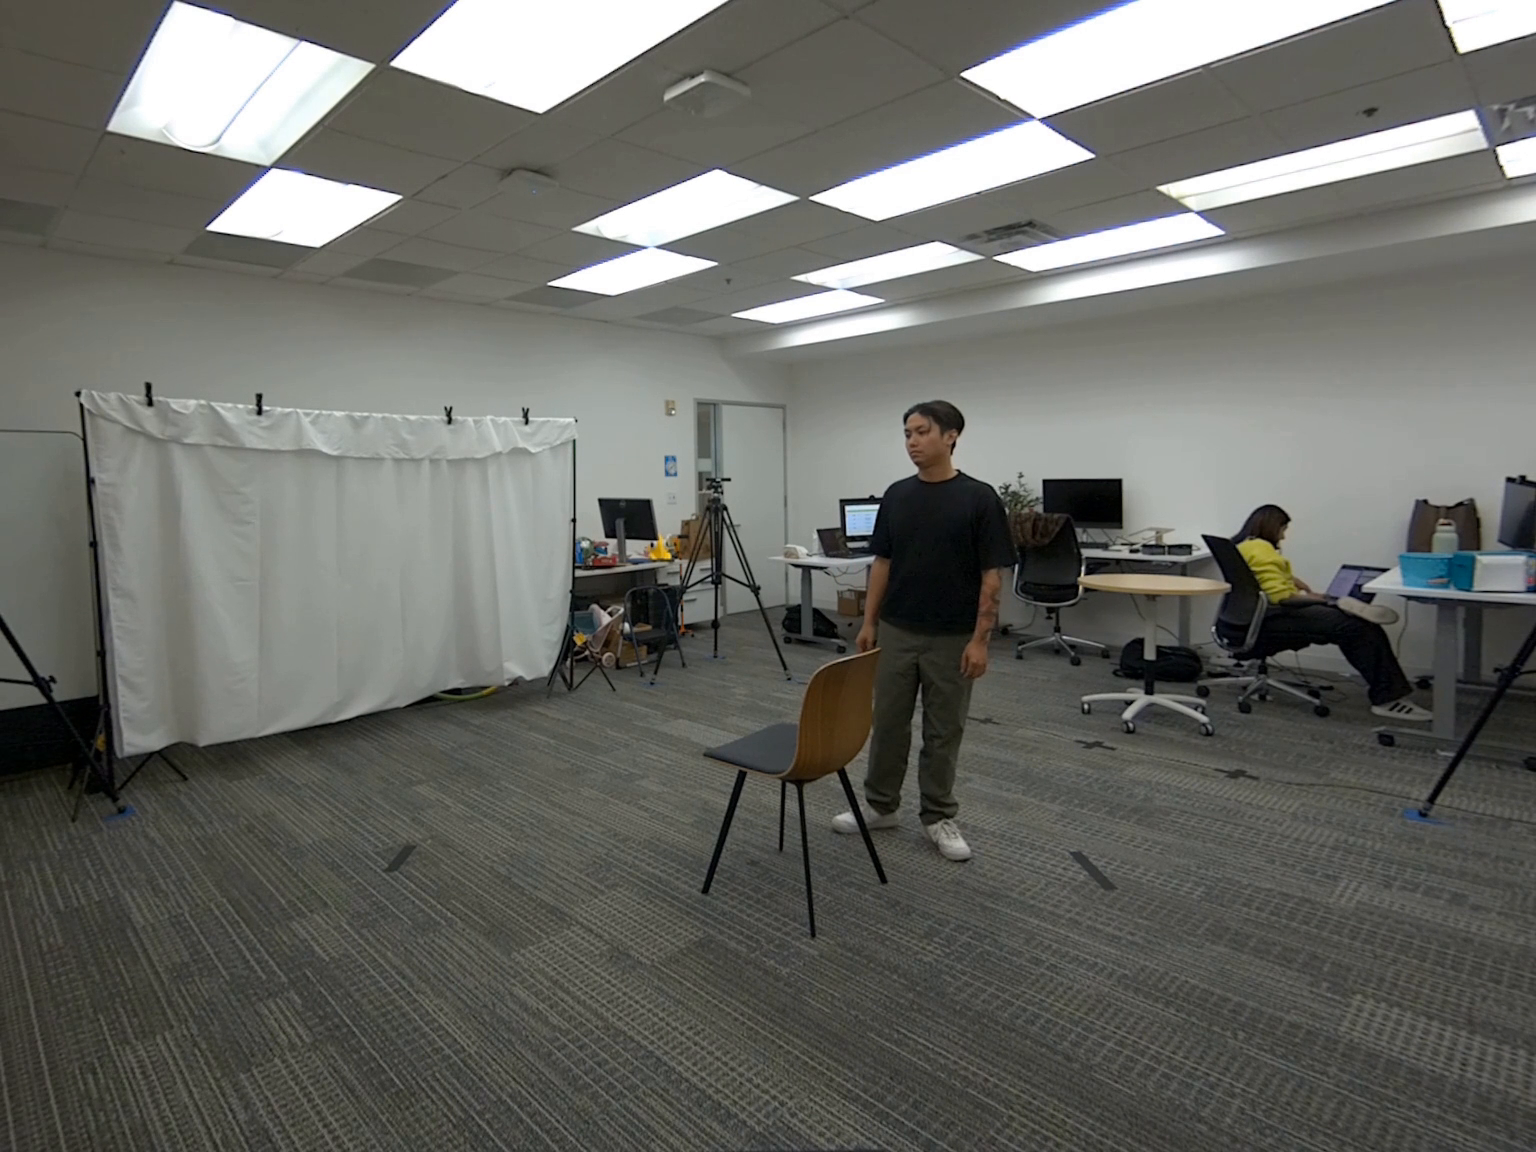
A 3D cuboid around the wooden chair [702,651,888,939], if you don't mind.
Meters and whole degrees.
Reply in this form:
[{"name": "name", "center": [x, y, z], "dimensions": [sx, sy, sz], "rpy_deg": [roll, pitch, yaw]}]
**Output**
[{"name": "wooden chair", "center": [0.081, 0.638, 2.877], "dimensions": [0.540, 0.872, 0.466], "rpy_deg": [8, 9, 38]}]
